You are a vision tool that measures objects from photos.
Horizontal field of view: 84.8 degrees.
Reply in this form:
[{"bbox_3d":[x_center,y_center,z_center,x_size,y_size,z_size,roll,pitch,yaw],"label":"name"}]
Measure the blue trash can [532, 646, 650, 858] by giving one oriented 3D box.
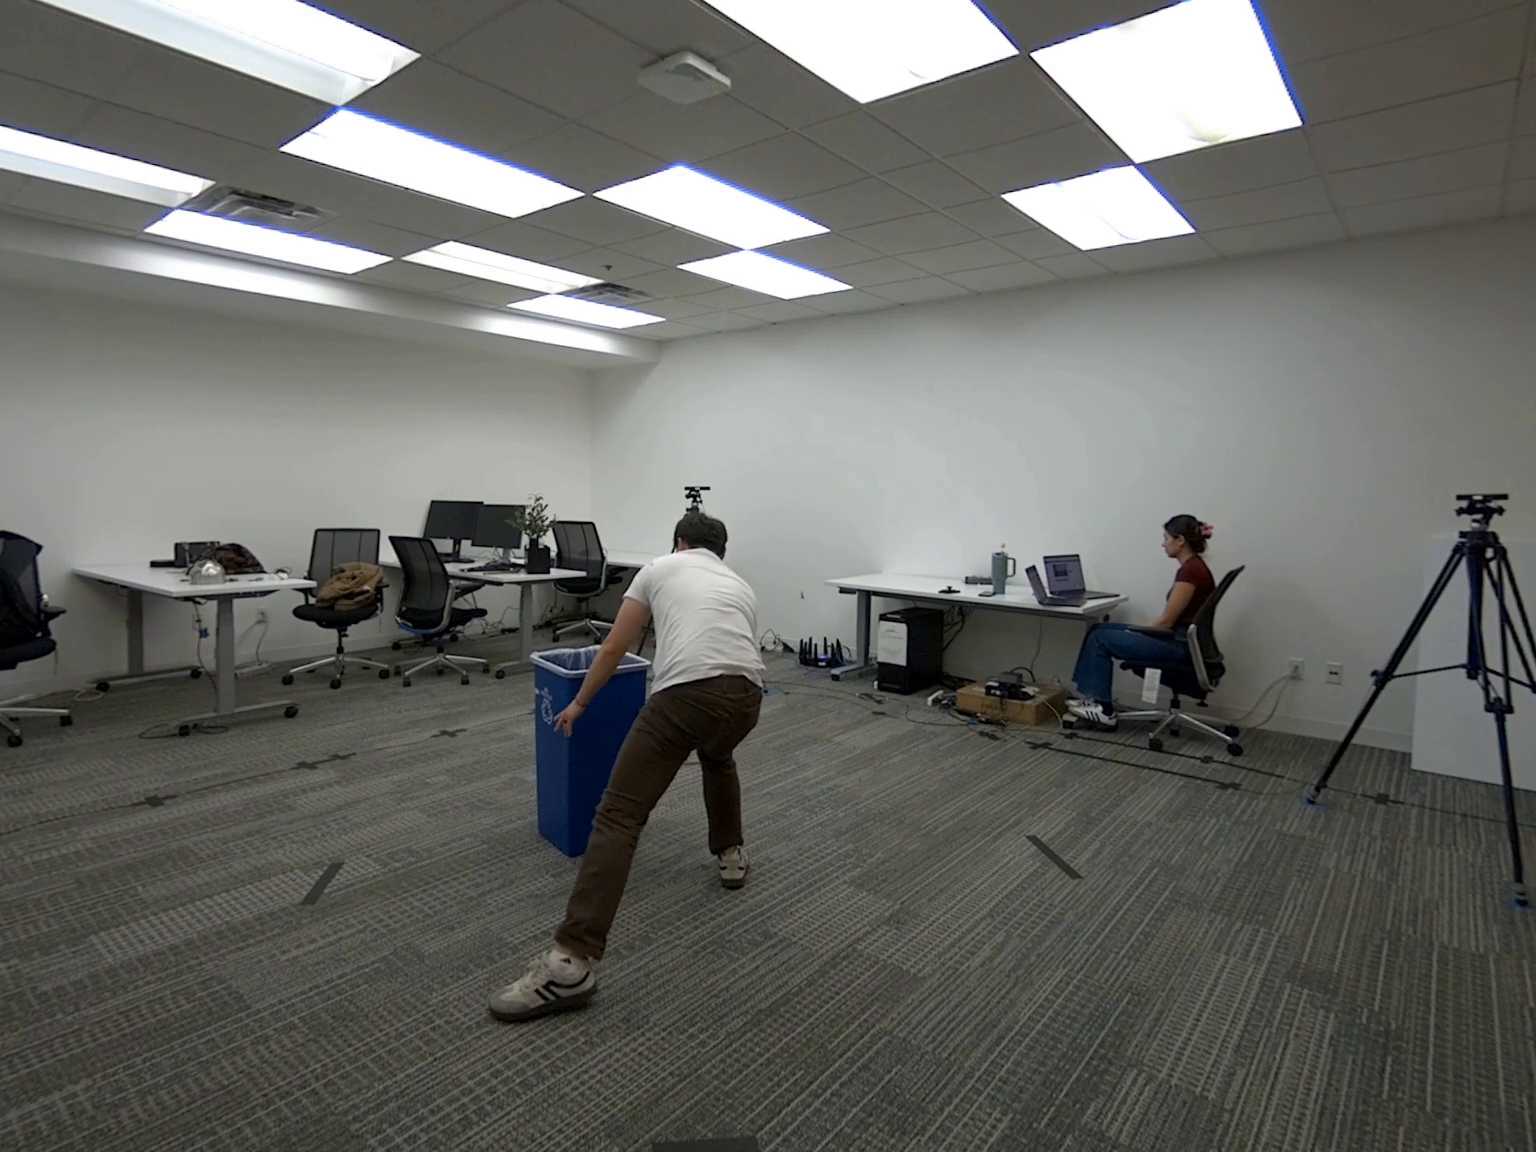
[{"bbox_3d":[-0.727,0.675,3.357,0.363,0.711,0.391,-1,5,-38],"label":"blue trash can"}]
